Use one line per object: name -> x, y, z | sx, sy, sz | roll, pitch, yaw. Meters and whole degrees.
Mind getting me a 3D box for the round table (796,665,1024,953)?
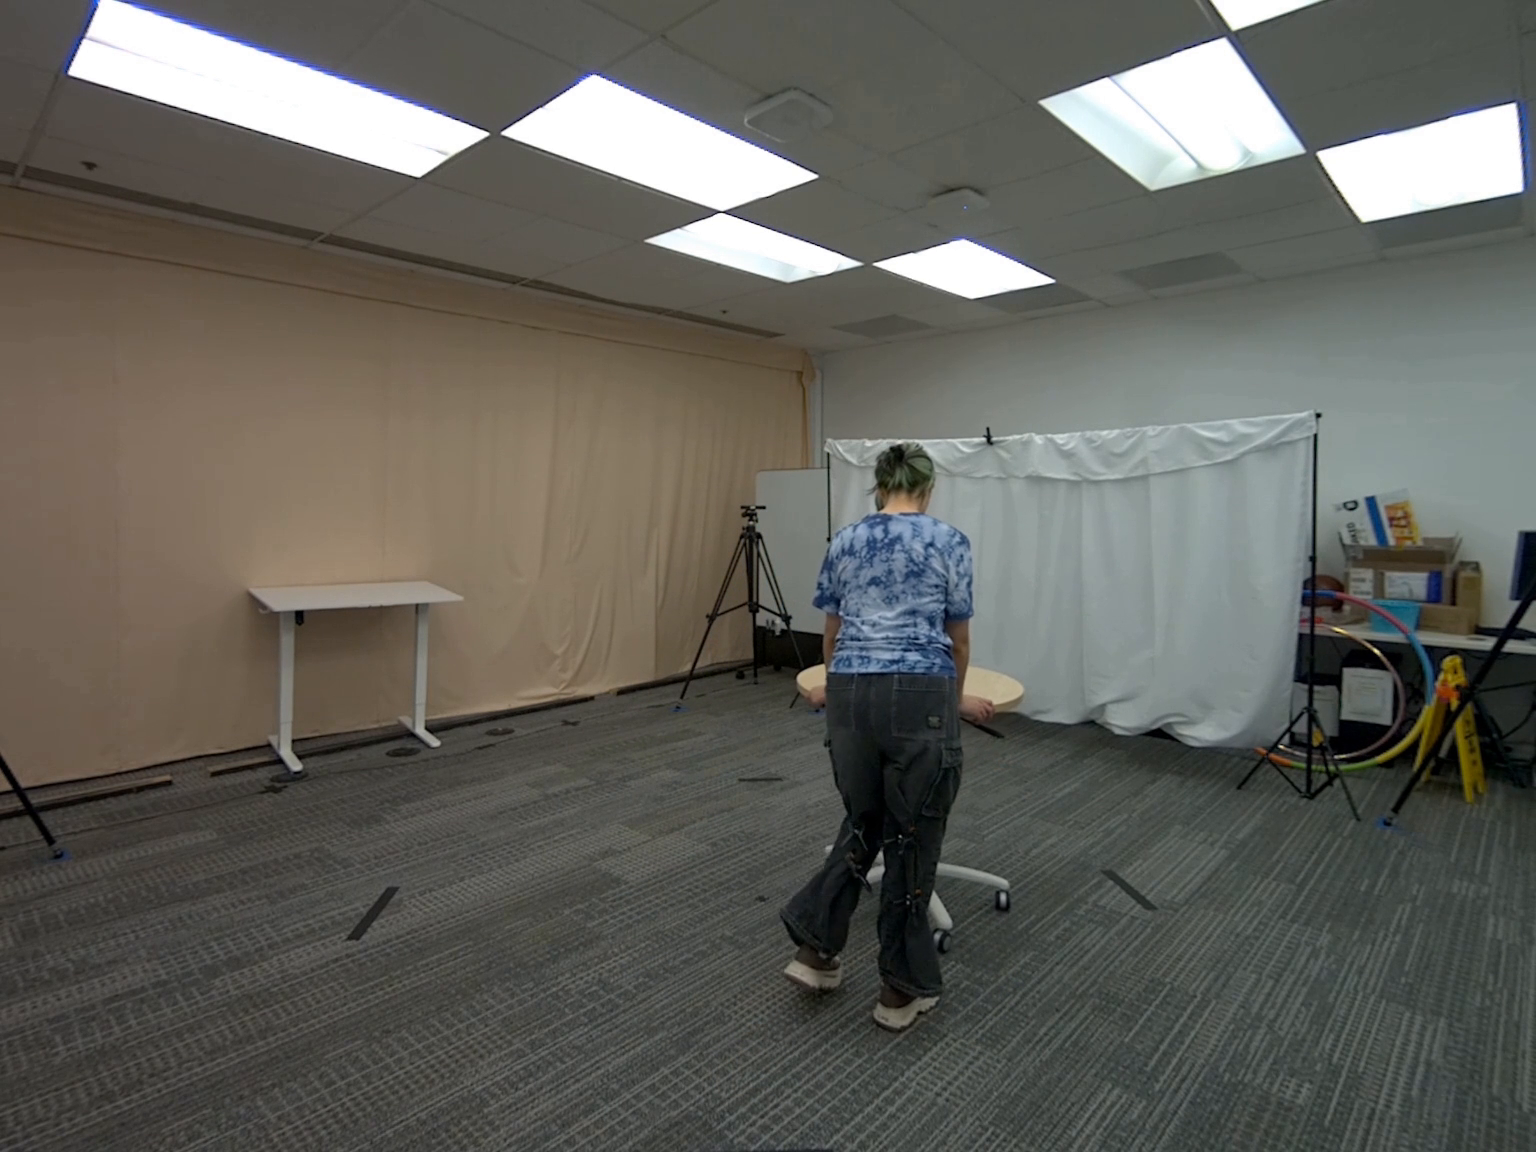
round table -> 0.494, 0.758, 2.953 | 0.763, 0.792, 0.767 | 0, 4, -2
